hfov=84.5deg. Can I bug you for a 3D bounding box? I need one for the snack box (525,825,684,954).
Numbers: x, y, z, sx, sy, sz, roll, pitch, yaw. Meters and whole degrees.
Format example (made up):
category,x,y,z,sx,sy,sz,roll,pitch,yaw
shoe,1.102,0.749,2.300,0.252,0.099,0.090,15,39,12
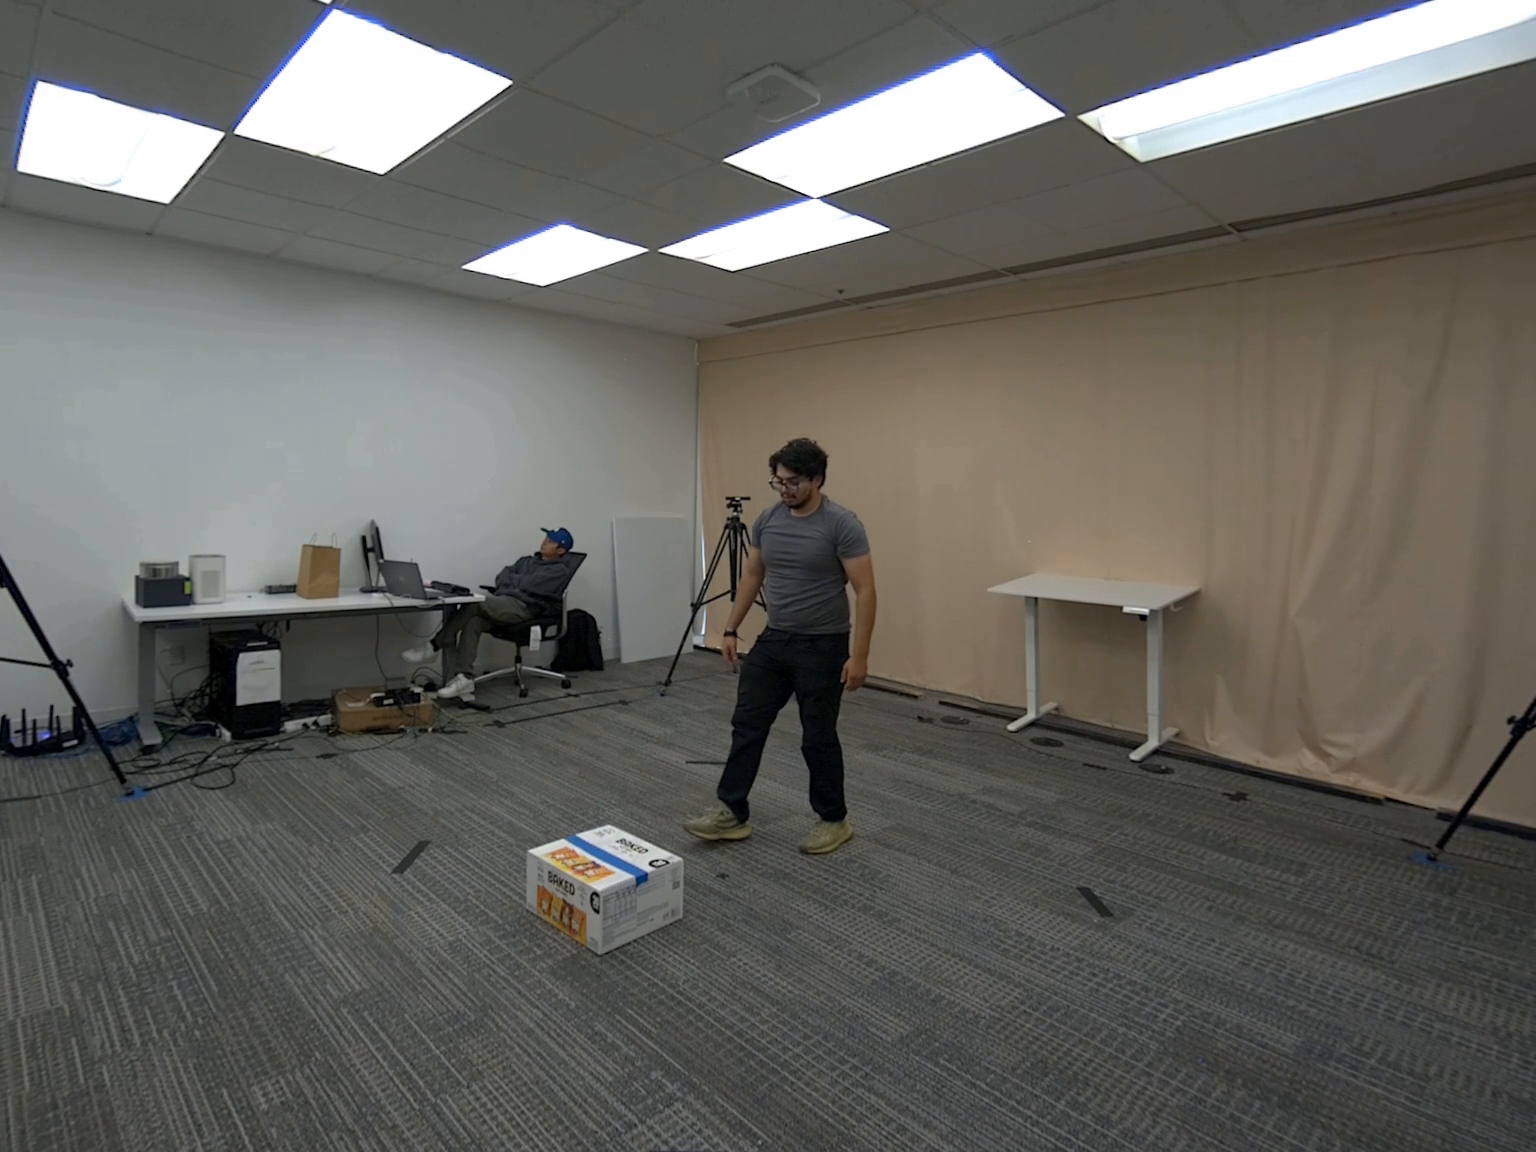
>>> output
category,x,y,z,sx,sy,sz,roll,pitch,yaw
snack box,-0.549,1.027,2.785,0.415,0.205,0.333,5,6,43
